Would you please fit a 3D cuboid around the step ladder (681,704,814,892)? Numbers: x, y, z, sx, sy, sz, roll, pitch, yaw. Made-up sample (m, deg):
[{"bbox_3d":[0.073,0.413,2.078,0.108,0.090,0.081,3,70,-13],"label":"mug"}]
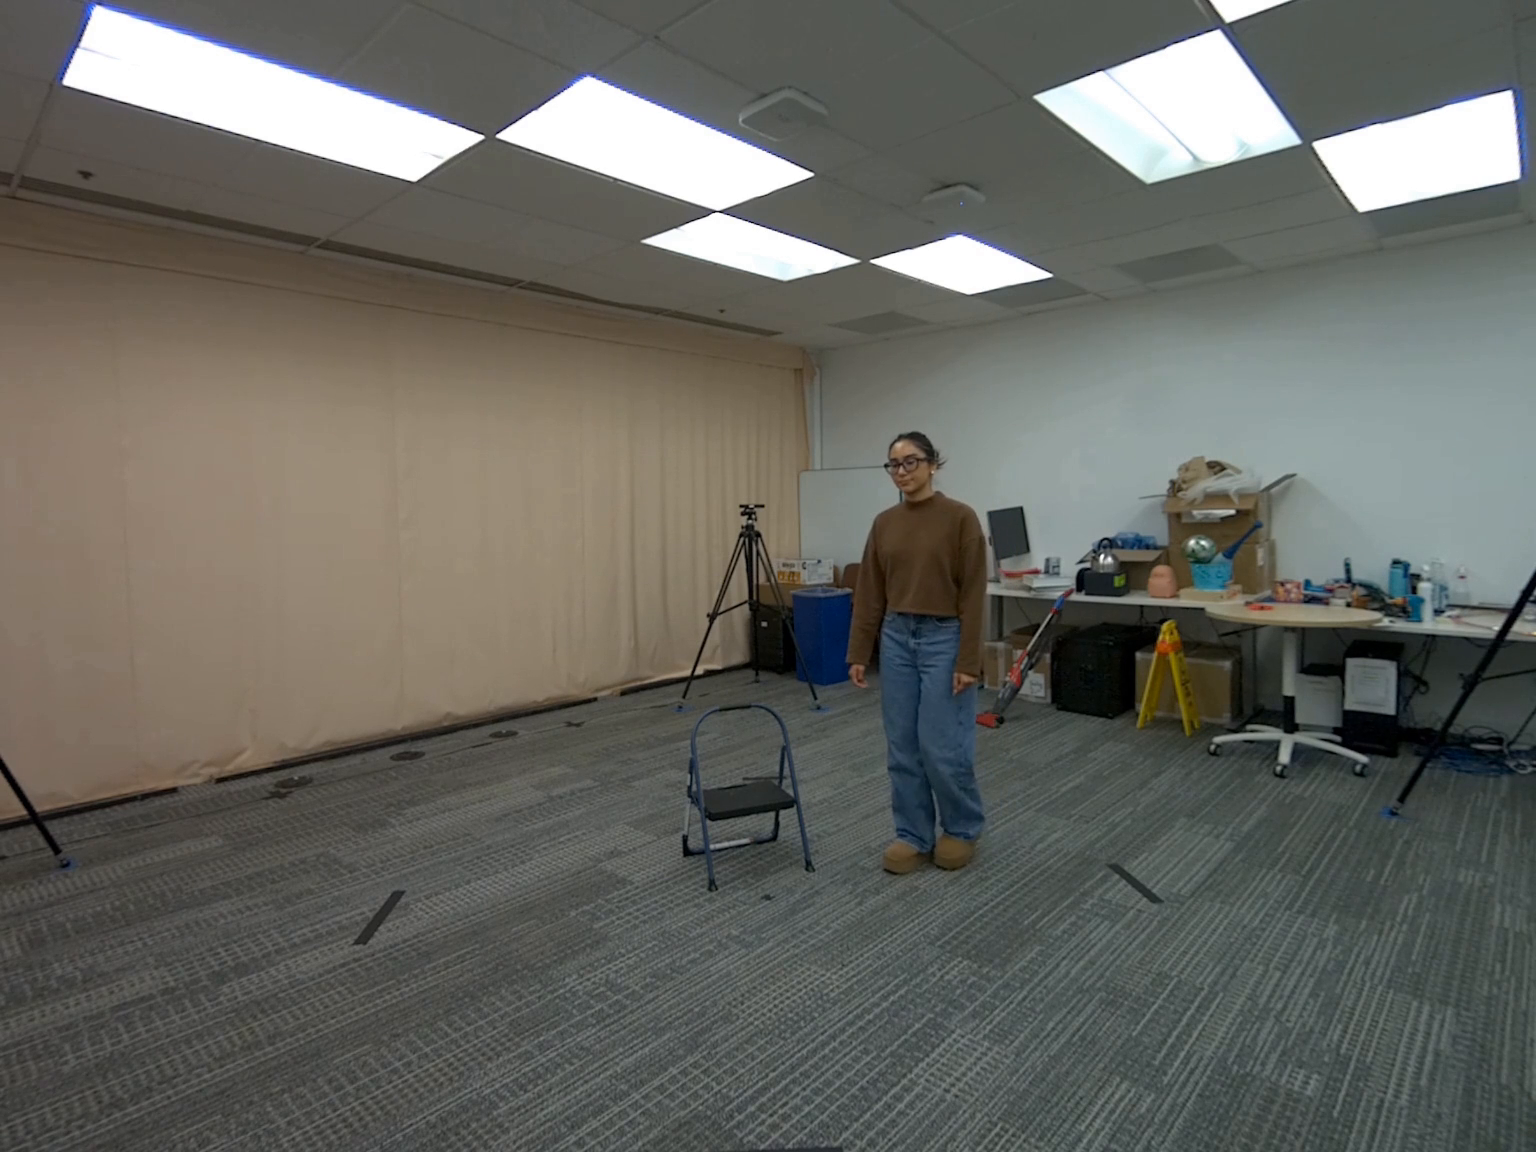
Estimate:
[{"bbox_3d":[-0.087,0.819,3.264,0.421,0.605,0.358,-3,4,-23],"label":"step ladder"}]
